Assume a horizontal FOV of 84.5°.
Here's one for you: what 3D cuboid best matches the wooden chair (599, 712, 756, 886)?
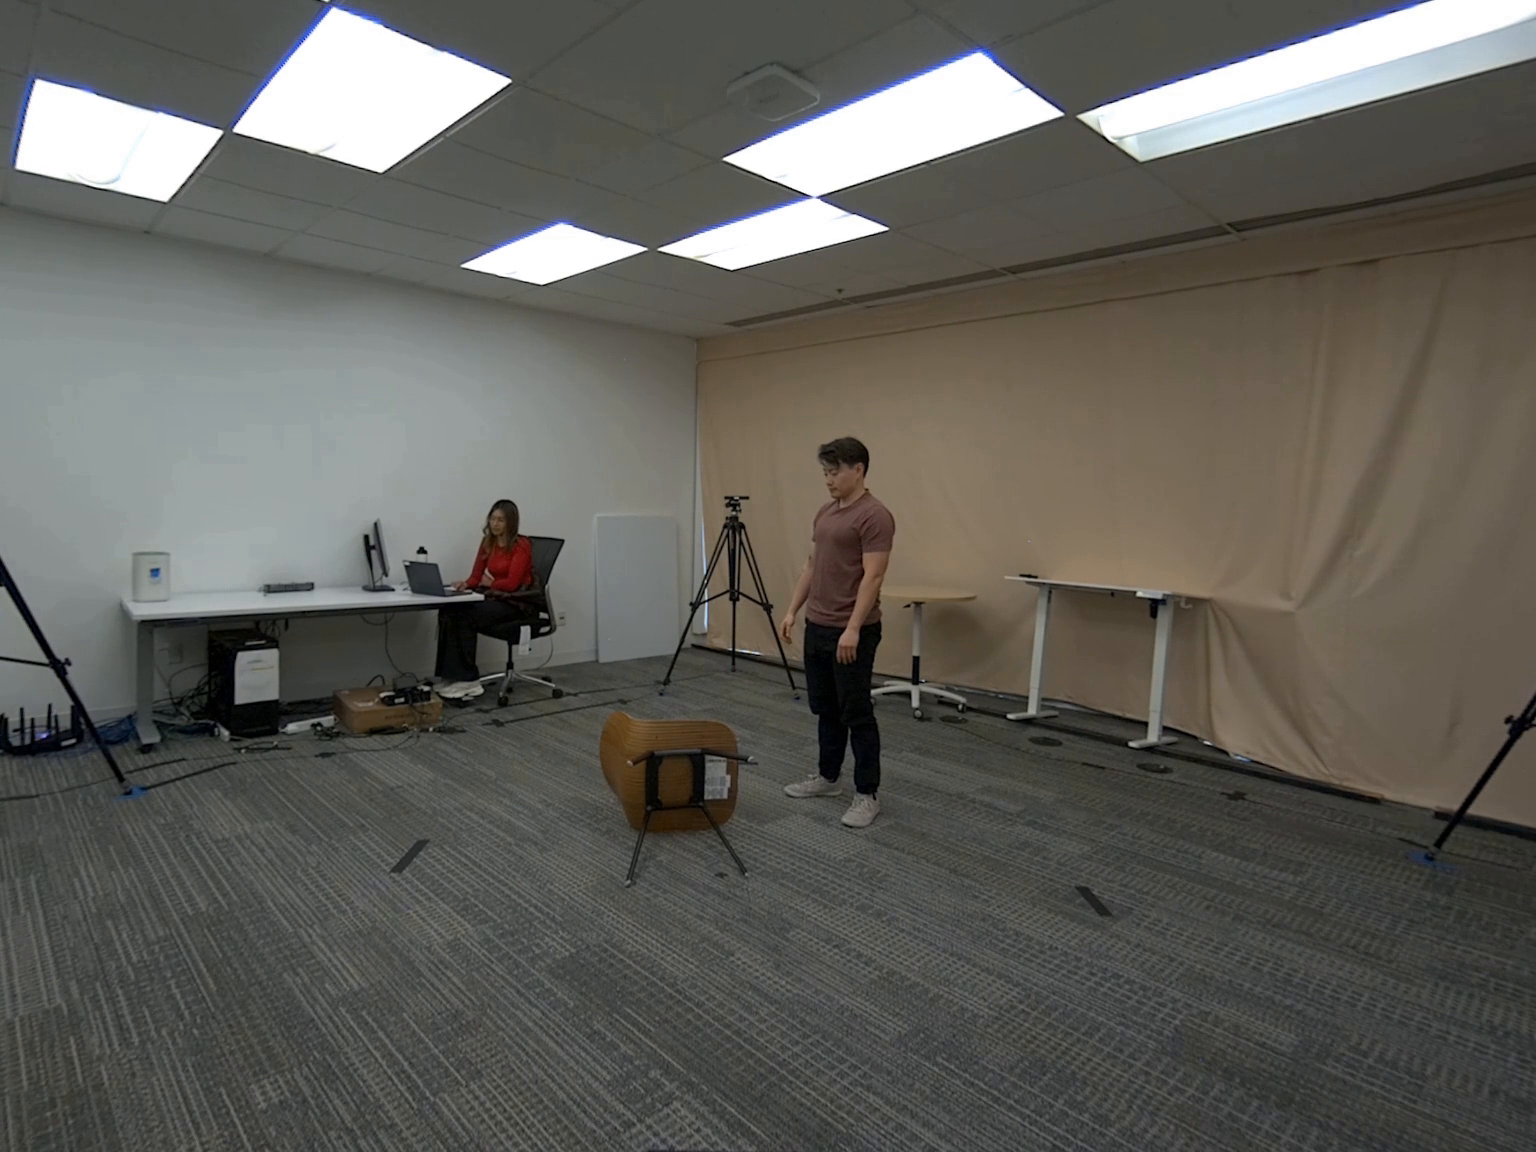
[{"bbox_3d":[-0.378,0.839,3.438,0.516,0.477,0.892,0,5,-18],"label":"wooden chair"}]
